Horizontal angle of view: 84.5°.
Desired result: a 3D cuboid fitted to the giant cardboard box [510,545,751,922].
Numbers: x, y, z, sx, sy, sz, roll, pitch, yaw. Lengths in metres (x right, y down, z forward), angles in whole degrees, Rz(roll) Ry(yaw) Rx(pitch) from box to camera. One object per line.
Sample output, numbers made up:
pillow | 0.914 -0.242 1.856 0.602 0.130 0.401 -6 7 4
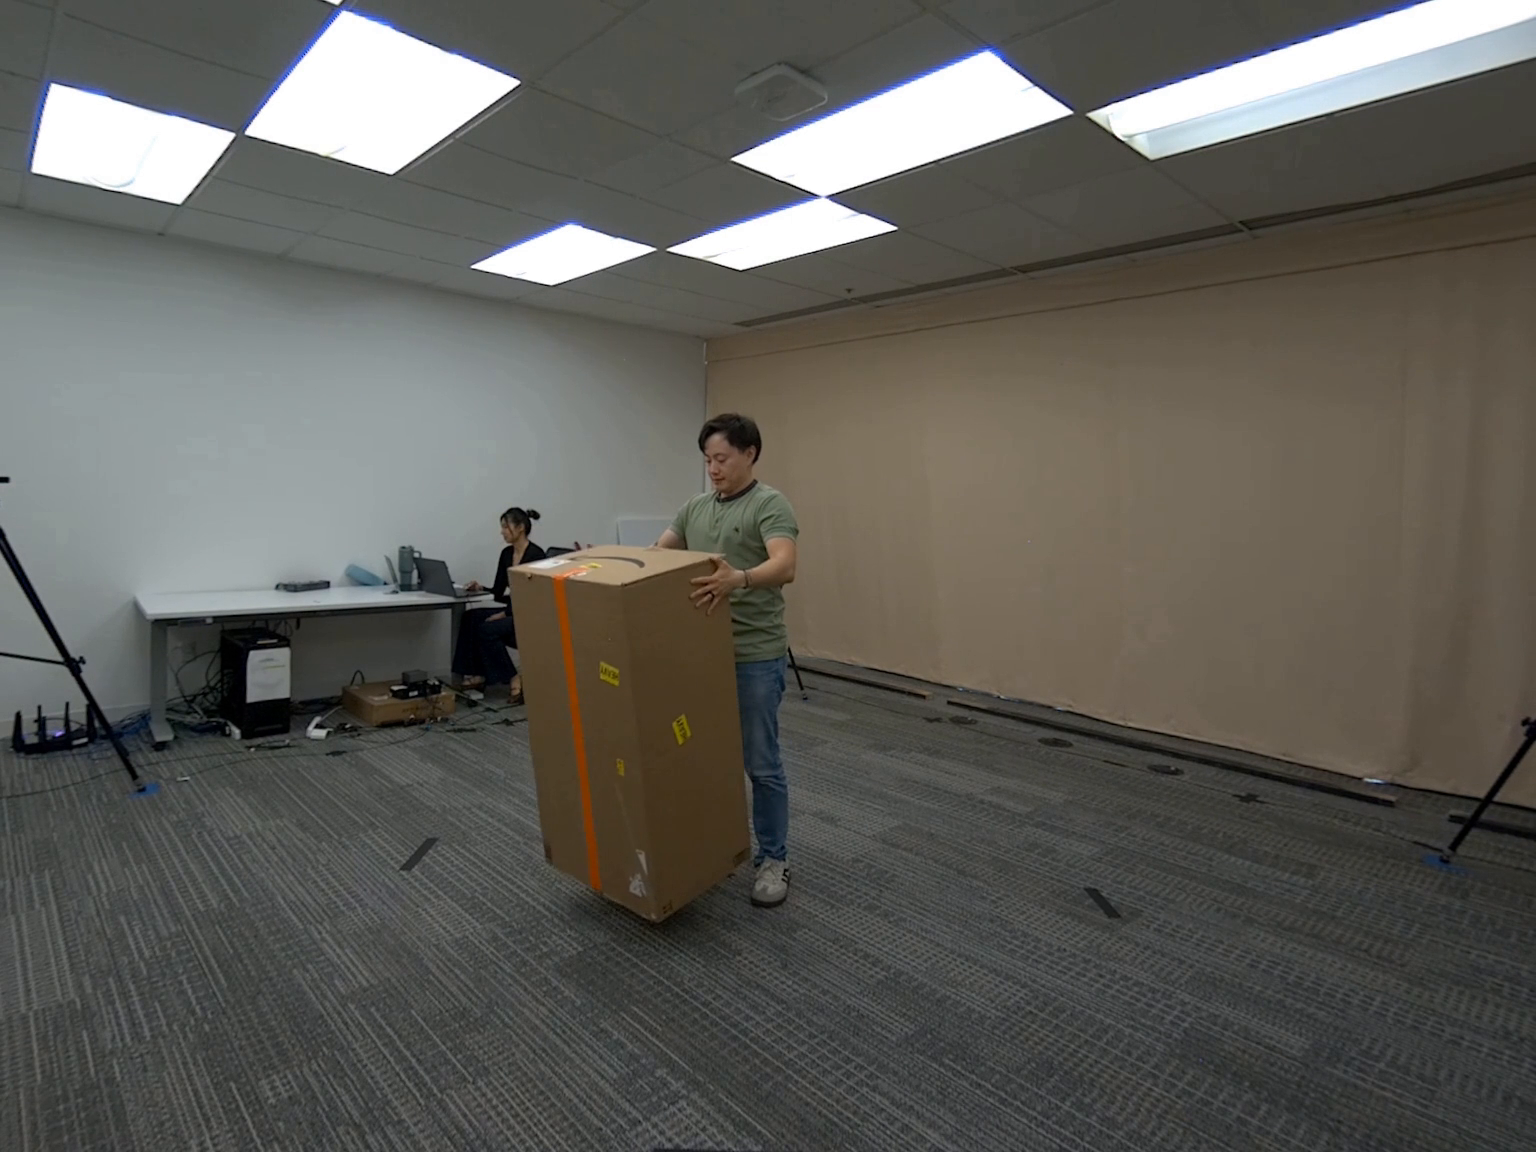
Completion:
giant cardboard box | -0.452 0.473 2.713 0.592 1.017 0.419 5 14 41
